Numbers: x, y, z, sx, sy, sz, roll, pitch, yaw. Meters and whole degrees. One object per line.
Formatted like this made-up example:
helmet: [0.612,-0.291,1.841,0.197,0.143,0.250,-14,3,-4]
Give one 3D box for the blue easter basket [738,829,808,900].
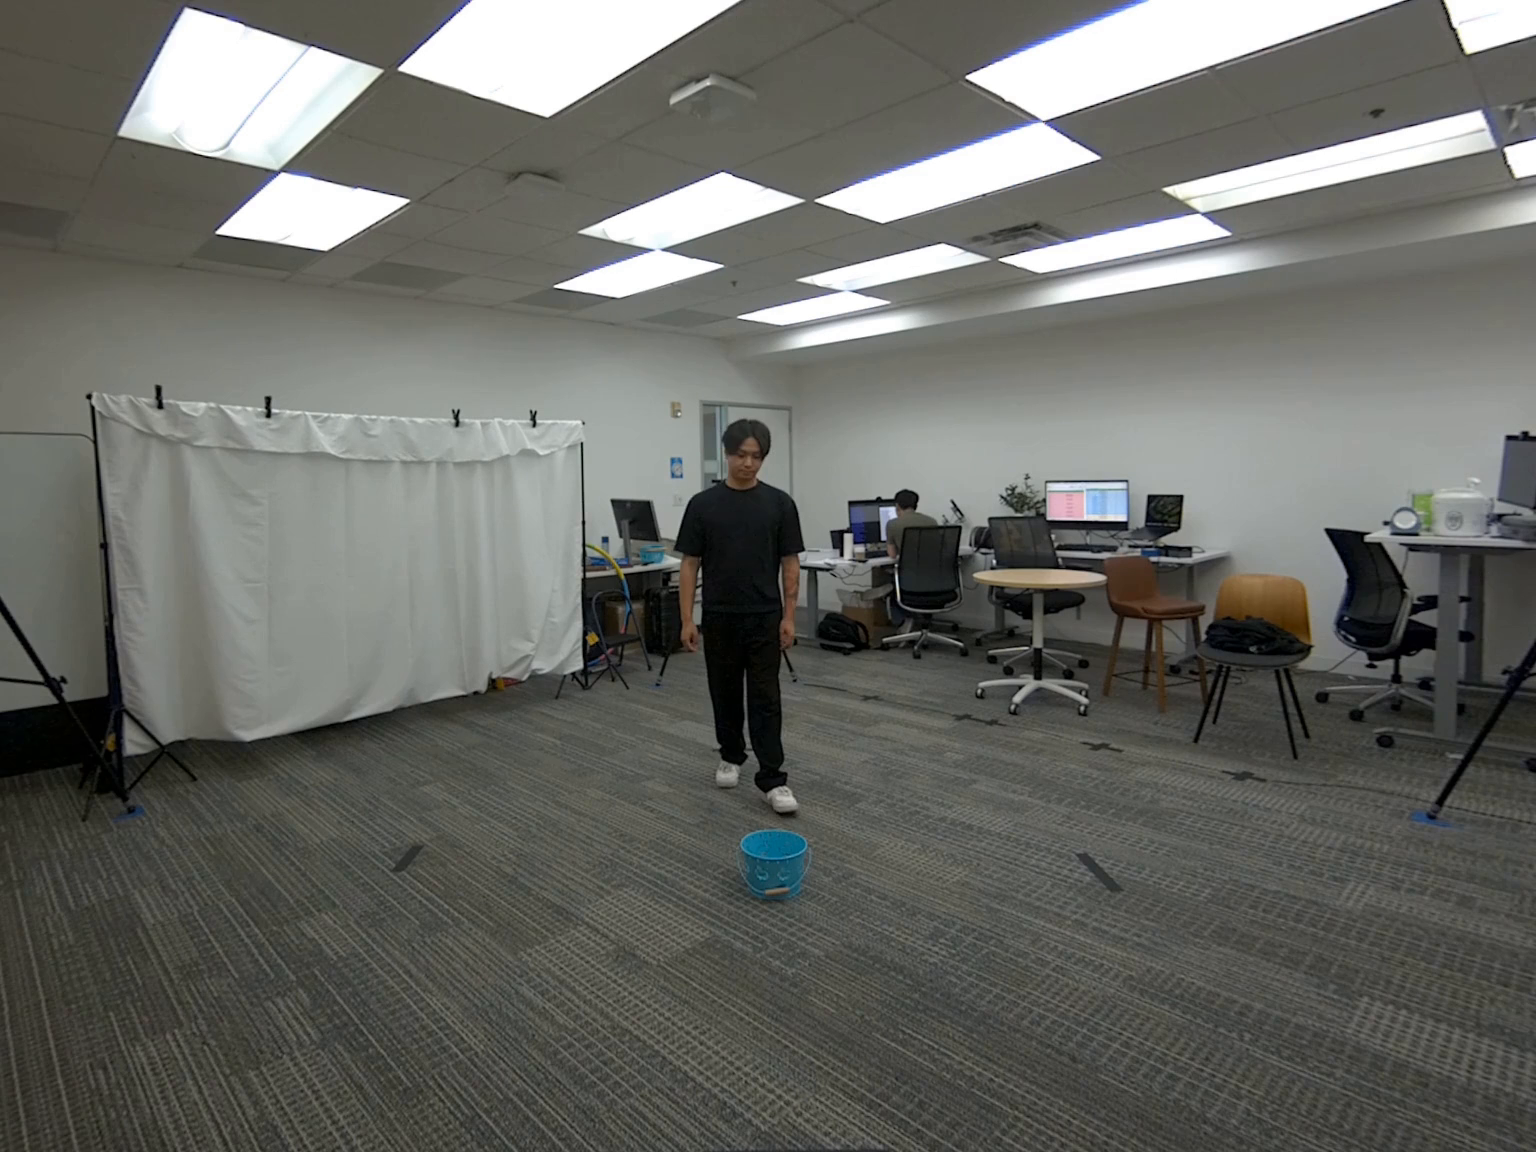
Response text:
blue easter basket: [0.016,0.991,2.921,0.243,0.155,0.245,-2,6,-2]
